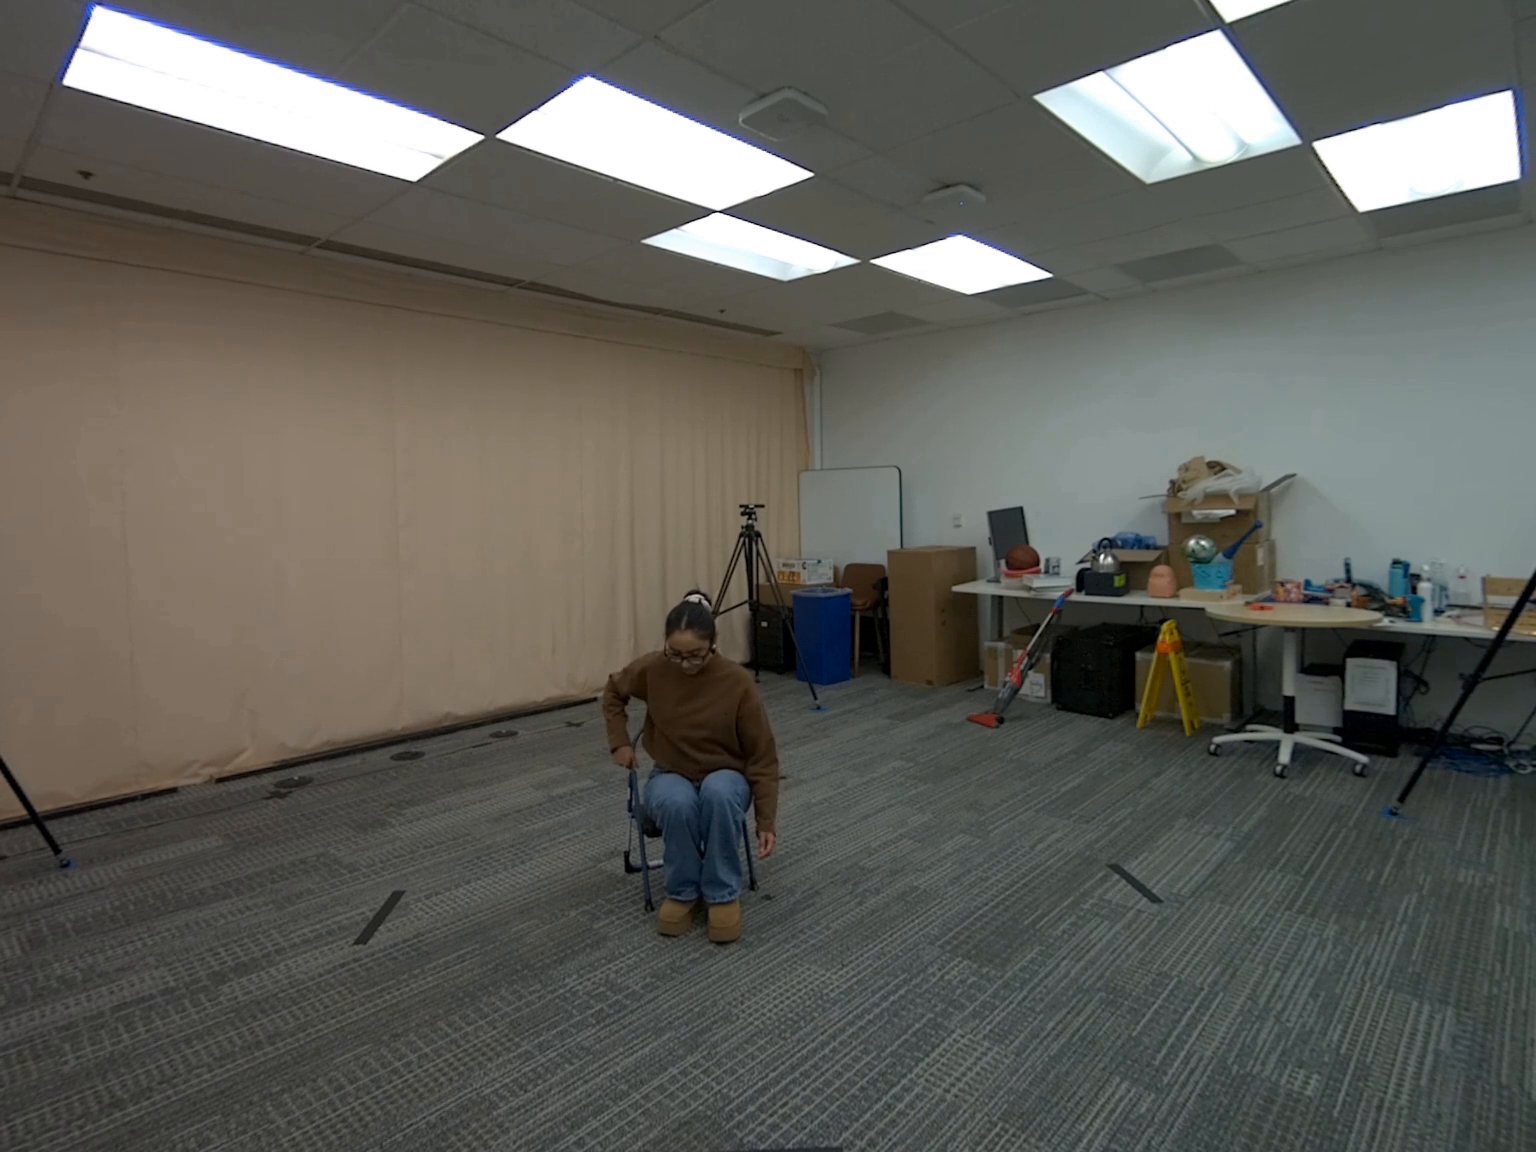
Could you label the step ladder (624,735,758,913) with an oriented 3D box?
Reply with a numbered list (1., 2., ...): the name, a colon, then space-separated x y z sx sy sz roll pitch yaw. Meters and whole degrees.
1. step ladder: -0.297 0.835 3.120 0.421 0.604 0.358 -2 4 -22
